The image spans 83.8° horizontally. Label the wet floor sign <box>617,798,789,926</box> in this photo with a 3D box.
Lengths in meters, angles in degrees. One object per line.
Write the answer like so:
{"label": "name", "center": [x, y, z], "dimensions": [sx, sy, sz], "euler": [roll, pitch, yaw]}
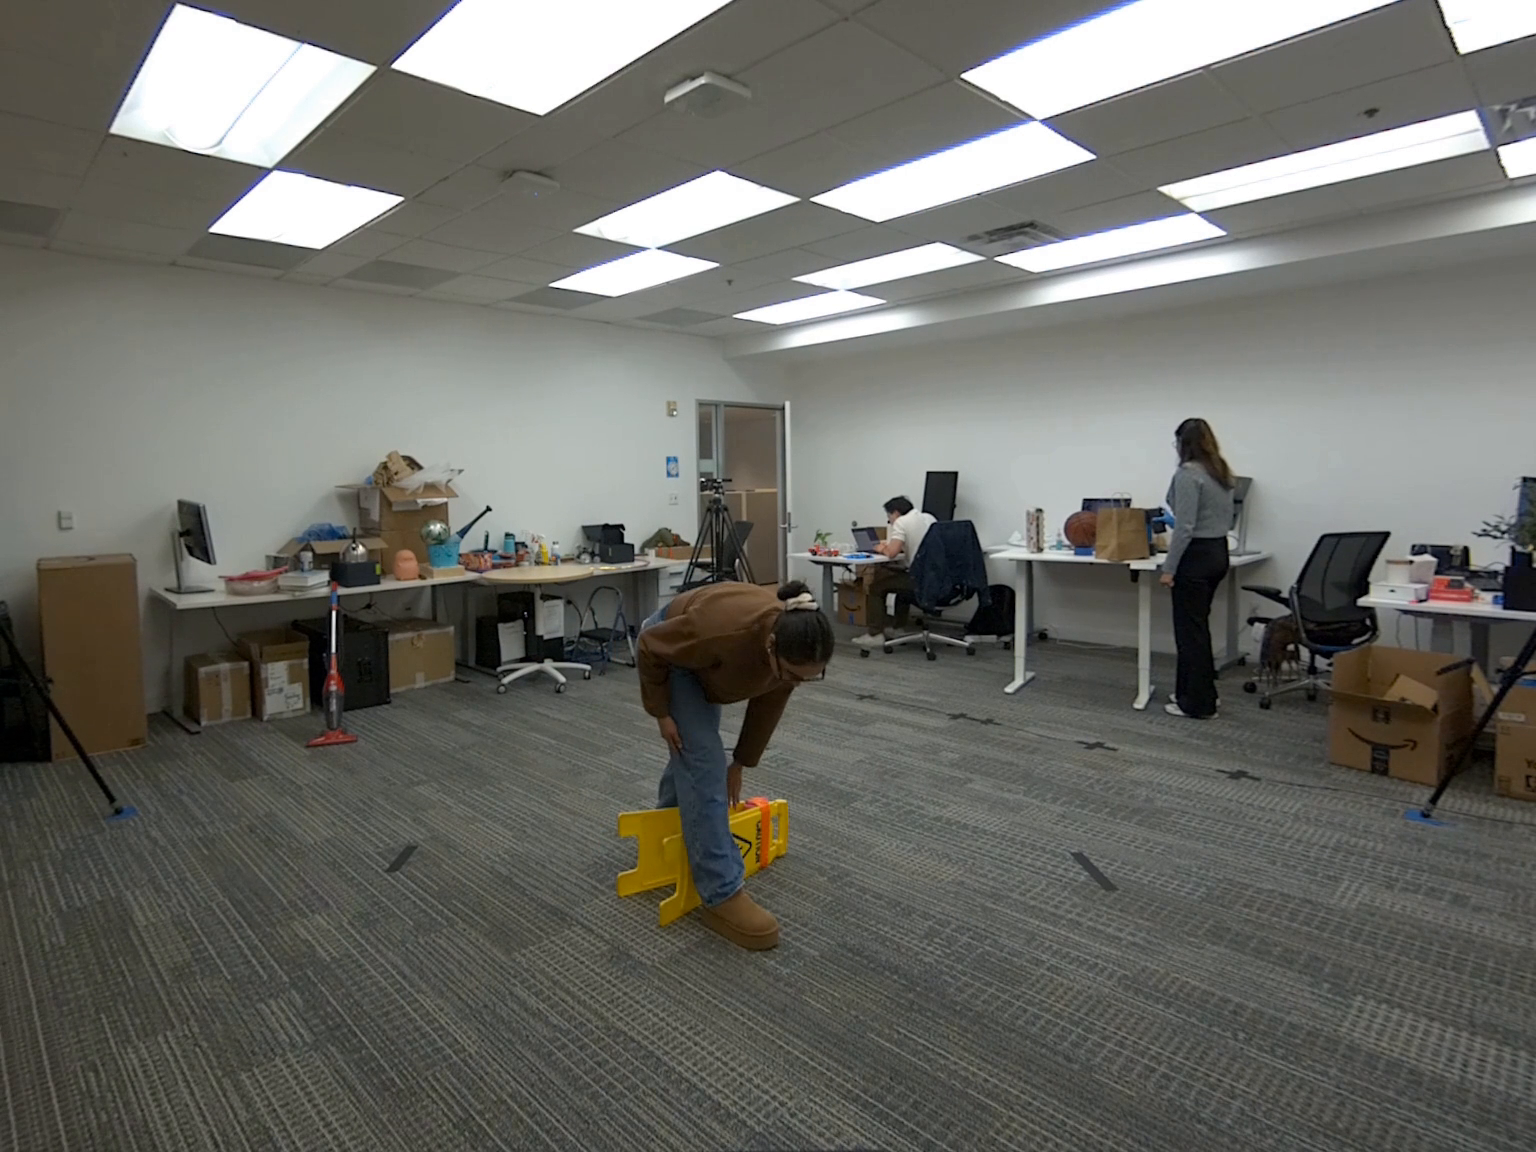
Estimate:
{"label": "wet floor sign", "center": [-0.178, 0.937, 2.969], "dimensions": [0.628, 0.281, 0.299], "euler": [-3, 6, -40]}
